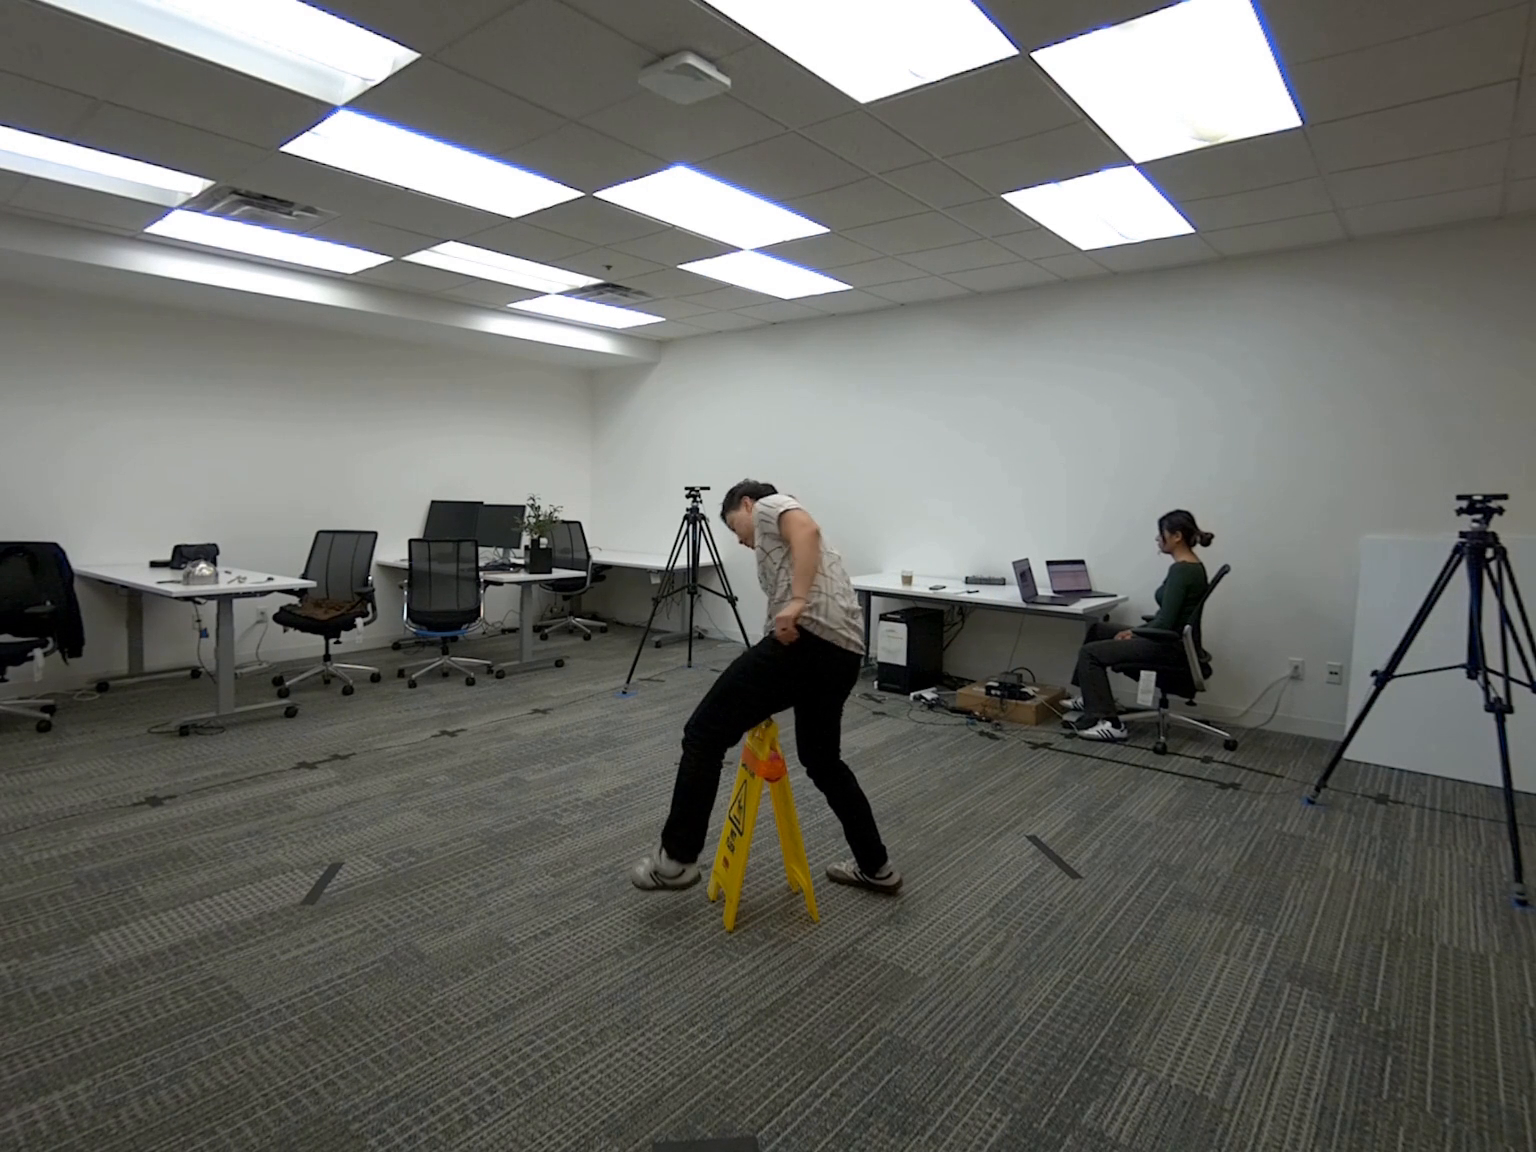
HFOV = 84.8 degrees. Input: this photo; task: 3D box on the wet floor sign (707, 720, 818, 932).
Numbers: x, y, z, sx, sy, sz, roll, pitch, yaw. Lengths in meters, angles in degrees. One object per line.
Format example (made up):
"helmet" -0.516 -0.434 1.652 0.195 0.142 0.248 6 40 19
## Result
"wet floor sign" -0.022 0.773 2.810 0.285 0.644 0.288 1 4 -16
